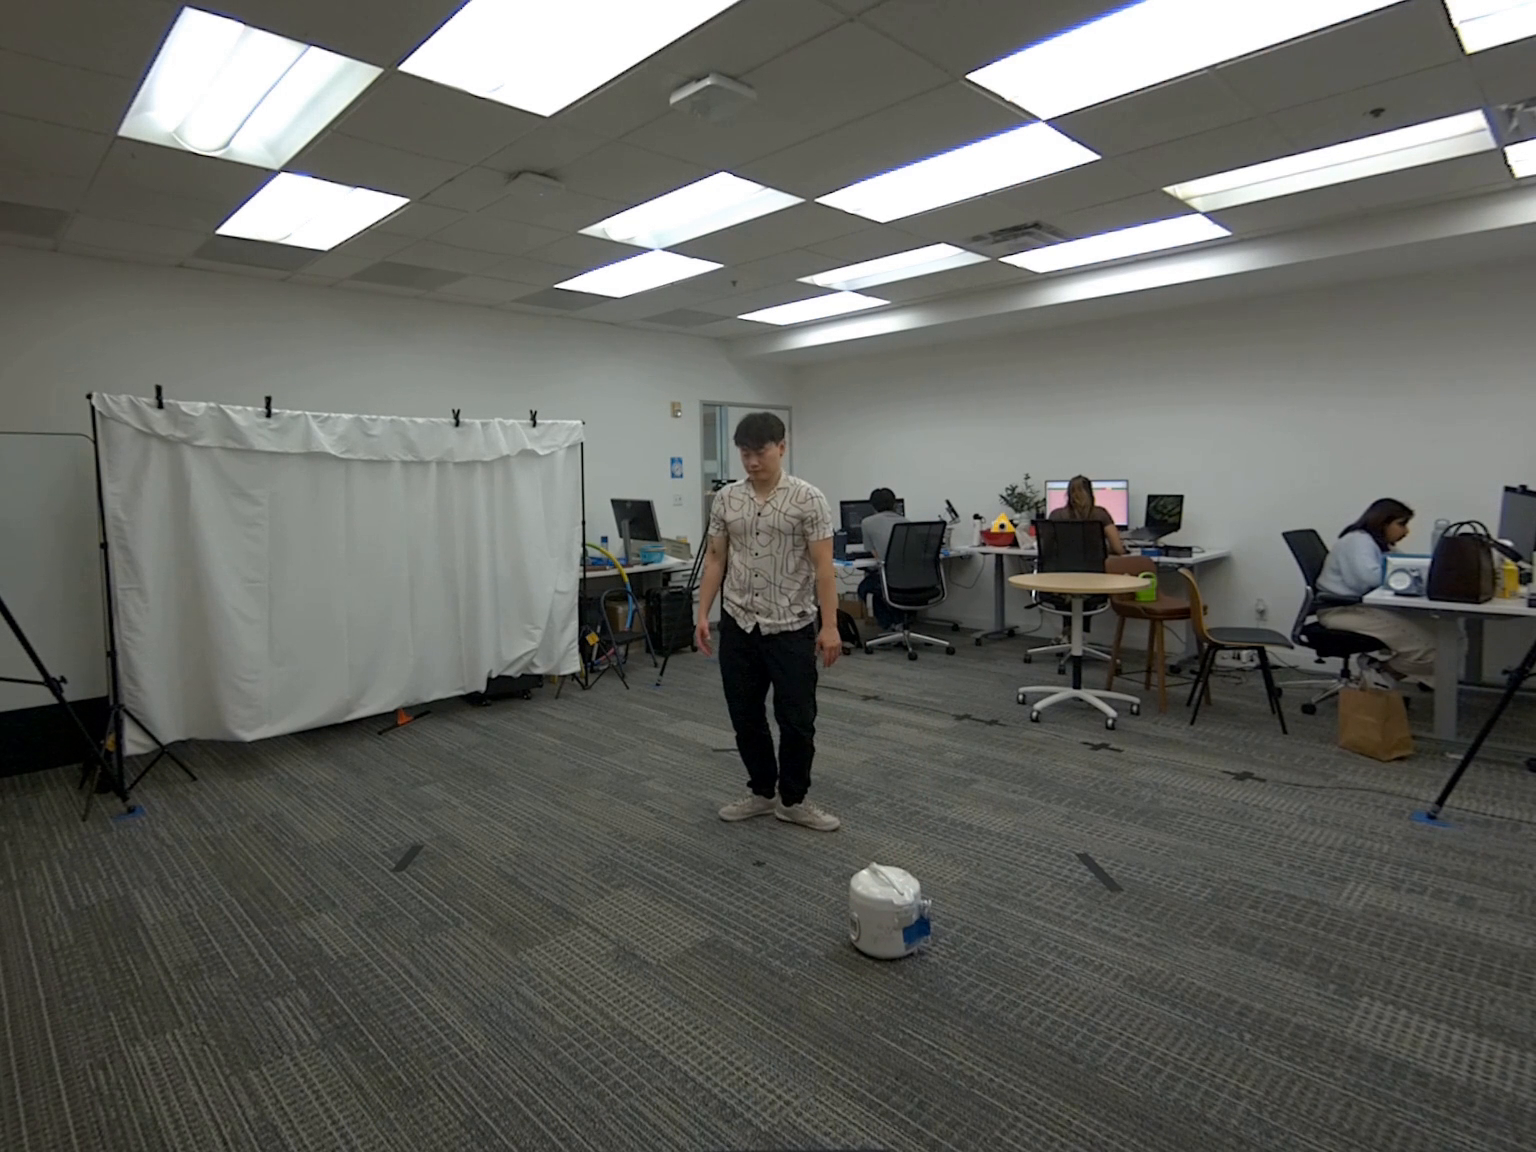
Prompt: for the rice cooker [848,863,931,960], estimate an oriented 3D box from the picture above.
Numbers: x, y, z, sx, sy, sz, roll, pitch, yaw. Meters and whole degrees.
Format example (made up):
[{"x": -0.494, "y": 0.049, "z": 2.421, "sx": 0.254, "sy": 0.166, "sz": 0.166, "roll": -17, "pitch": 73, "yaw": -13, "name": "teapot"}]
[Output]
[{"x": 0.342, "y": 0.986, "z": 2.548, "sx": 0.213, "sy": 0.232, "sz": 0.226, "roll": -2, "pitch": 5, "yaw": -23, "name": "rice cooker"}]
